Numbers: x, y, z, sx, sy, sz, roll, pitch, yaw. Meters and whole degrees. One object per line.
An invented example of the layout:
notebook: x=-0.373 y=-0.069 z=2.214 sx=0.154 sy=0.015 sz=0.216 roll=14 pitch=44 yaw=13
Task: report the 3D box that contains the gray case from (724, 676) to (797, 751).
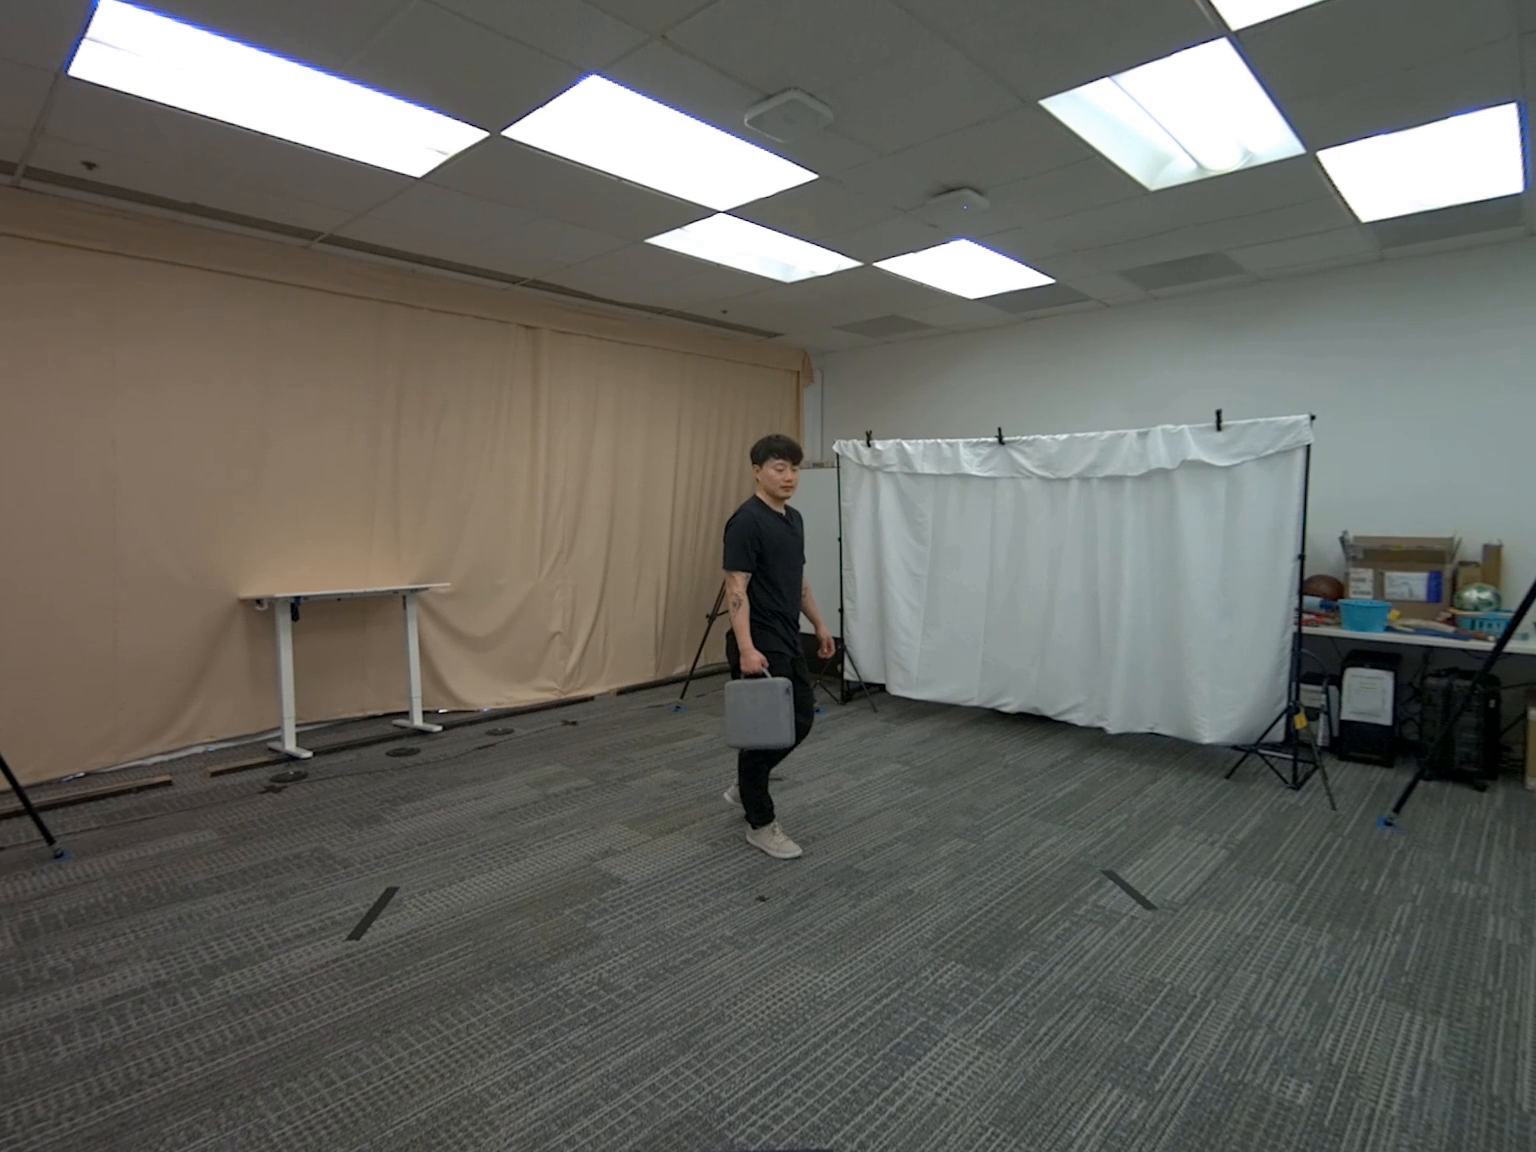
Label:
gray case: x=-0.037 y=0.501 z=3.120 sx=0.263 sy=0.263 sz=0.101 roll=-9 pitch=-13 yaw=27
